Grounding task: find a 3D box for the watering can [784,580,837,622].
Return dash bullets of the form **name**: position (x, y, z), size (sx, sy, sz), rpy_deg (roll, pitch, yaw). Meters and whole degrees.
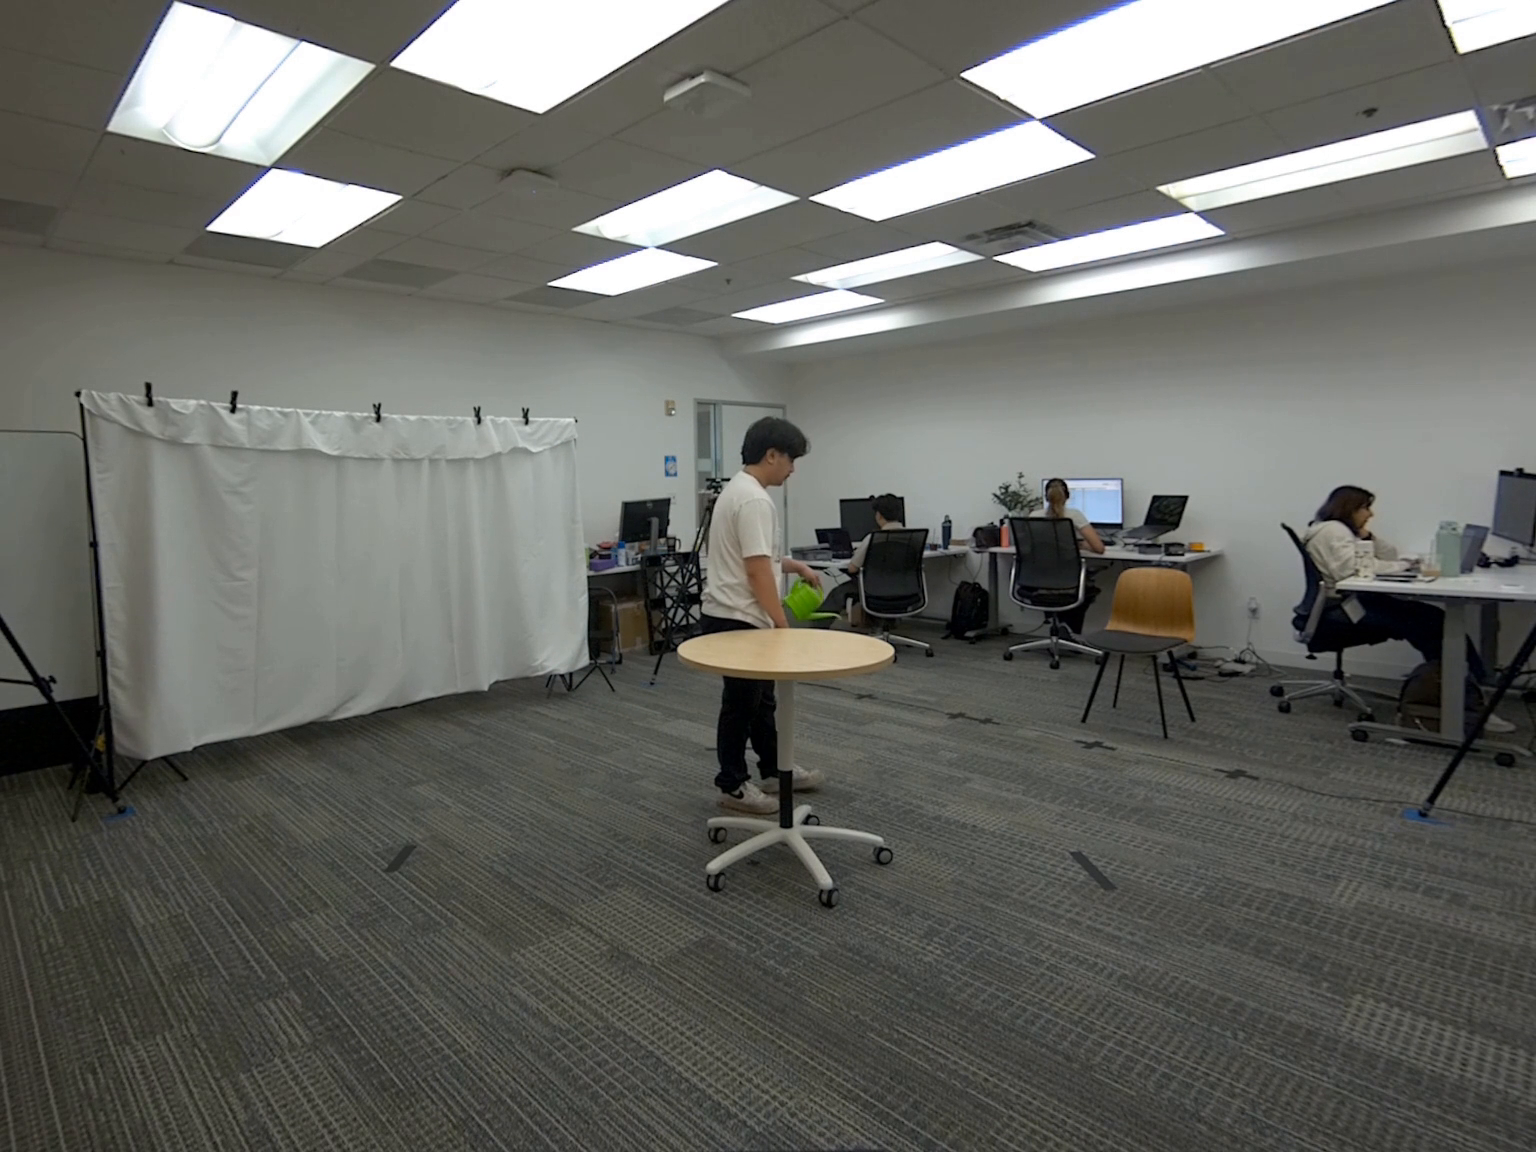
- **watering can**: position (0.188, 0.141, 3.886), size (0.176, 0.277, 0.098), rpy_deg (-37, 4, -5)
